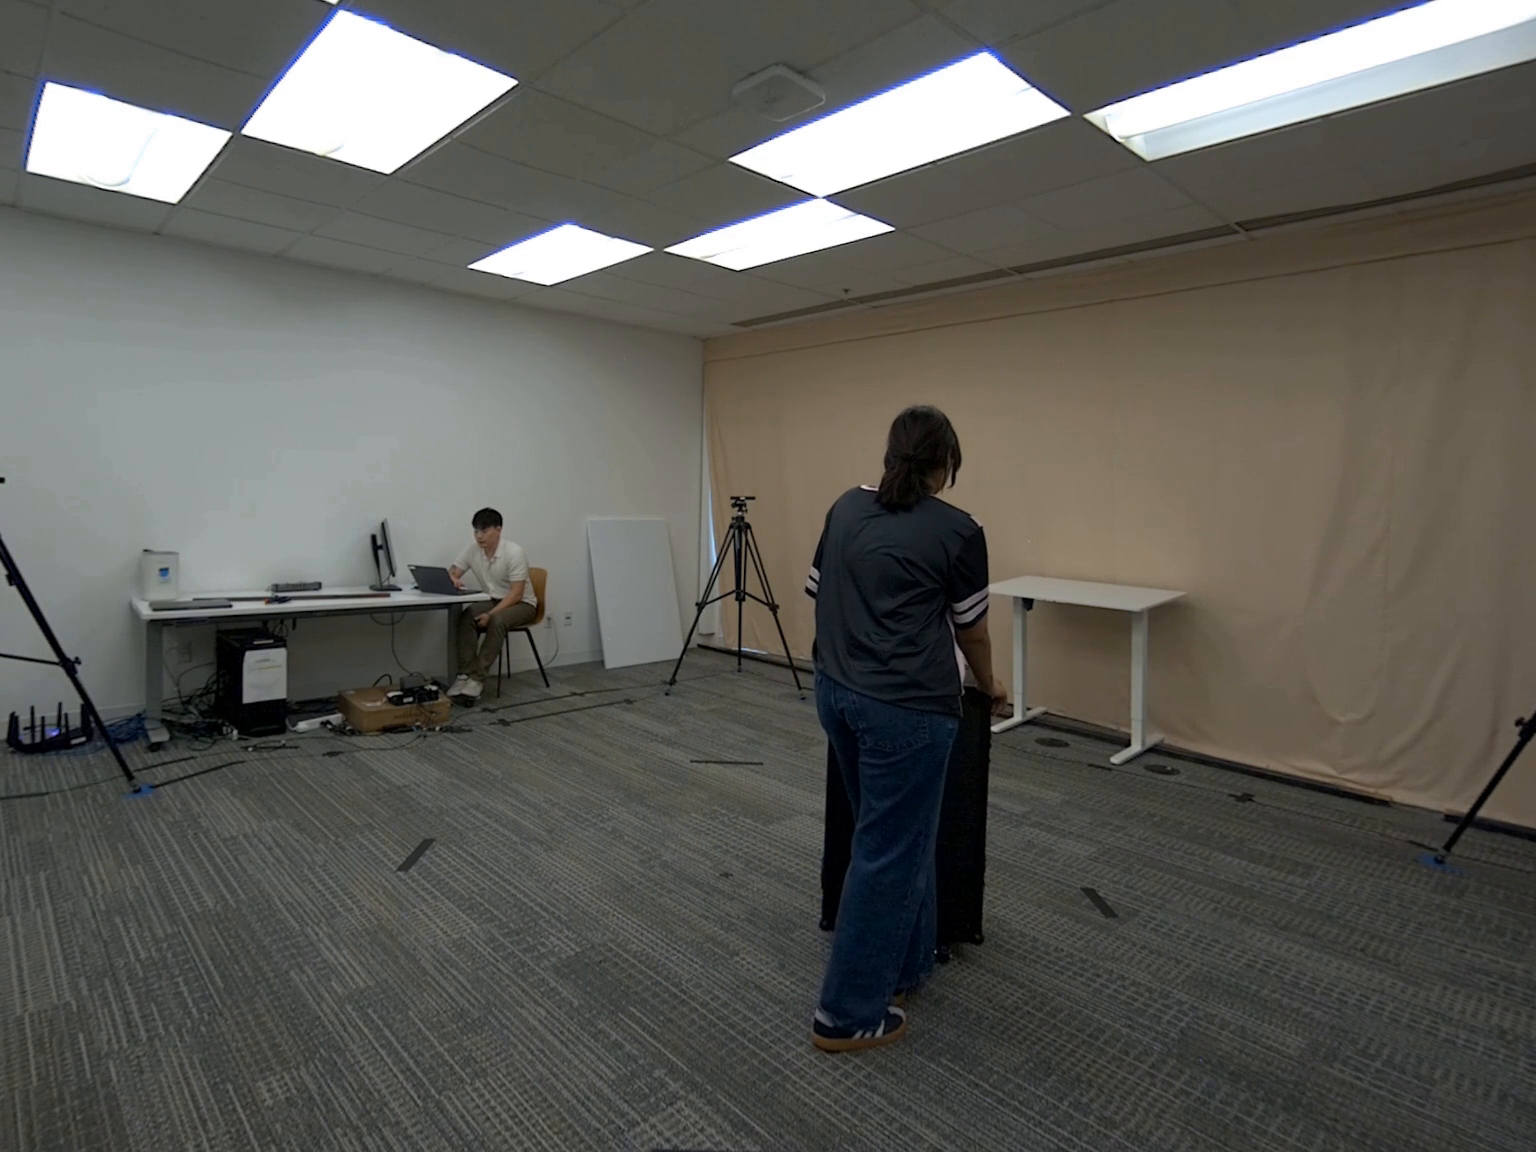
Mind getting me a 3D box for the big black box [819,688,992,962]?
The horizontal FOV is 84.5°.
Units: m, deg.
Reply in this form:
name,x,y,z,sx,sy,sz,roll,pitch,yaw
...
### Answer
name,x,y,z,sx,sy,sz,roll,pitch,yaw
big black box,0.421,0.734,2.713,0.526,0.866,0.384,2,3,5
